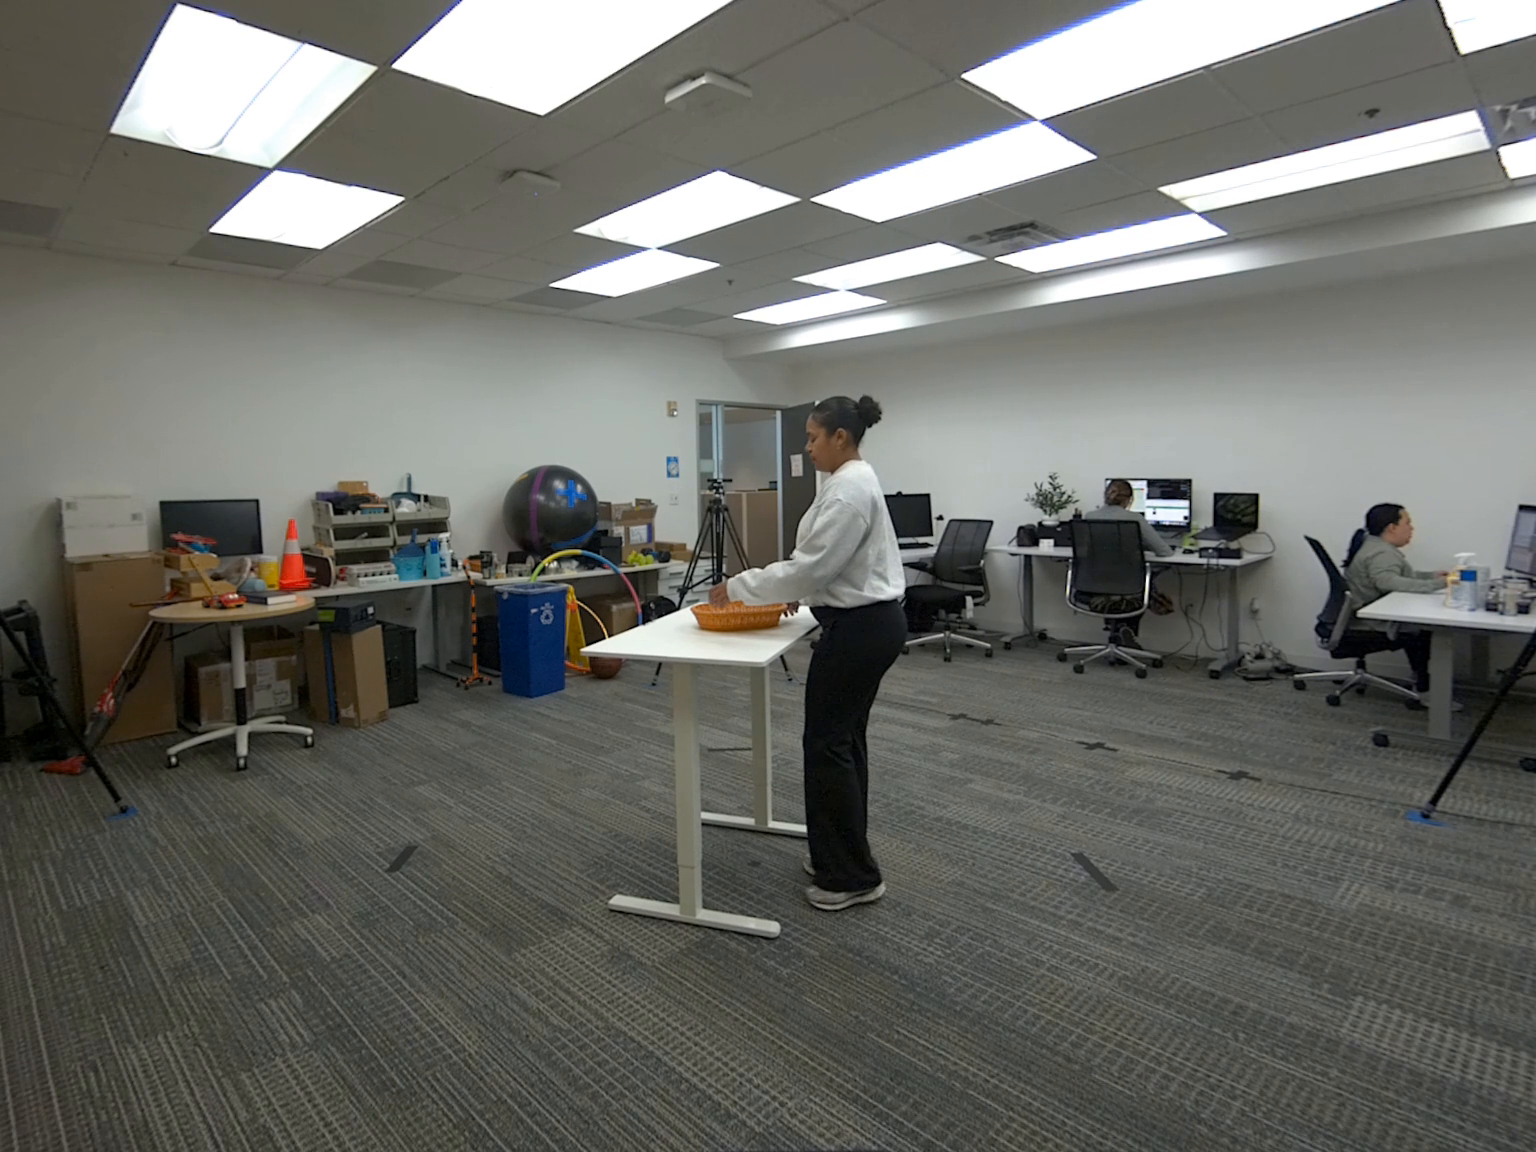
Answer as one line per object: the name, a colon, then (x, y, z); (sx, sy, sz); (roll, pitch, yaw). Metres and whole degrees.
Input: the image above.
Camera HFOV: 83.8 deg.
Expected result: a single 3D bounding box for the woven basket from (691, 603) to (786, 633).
woven basket: (-0.091, 0.143, 2.996); (0.345, 0.073, 0.257); (-3, 6, -17)
